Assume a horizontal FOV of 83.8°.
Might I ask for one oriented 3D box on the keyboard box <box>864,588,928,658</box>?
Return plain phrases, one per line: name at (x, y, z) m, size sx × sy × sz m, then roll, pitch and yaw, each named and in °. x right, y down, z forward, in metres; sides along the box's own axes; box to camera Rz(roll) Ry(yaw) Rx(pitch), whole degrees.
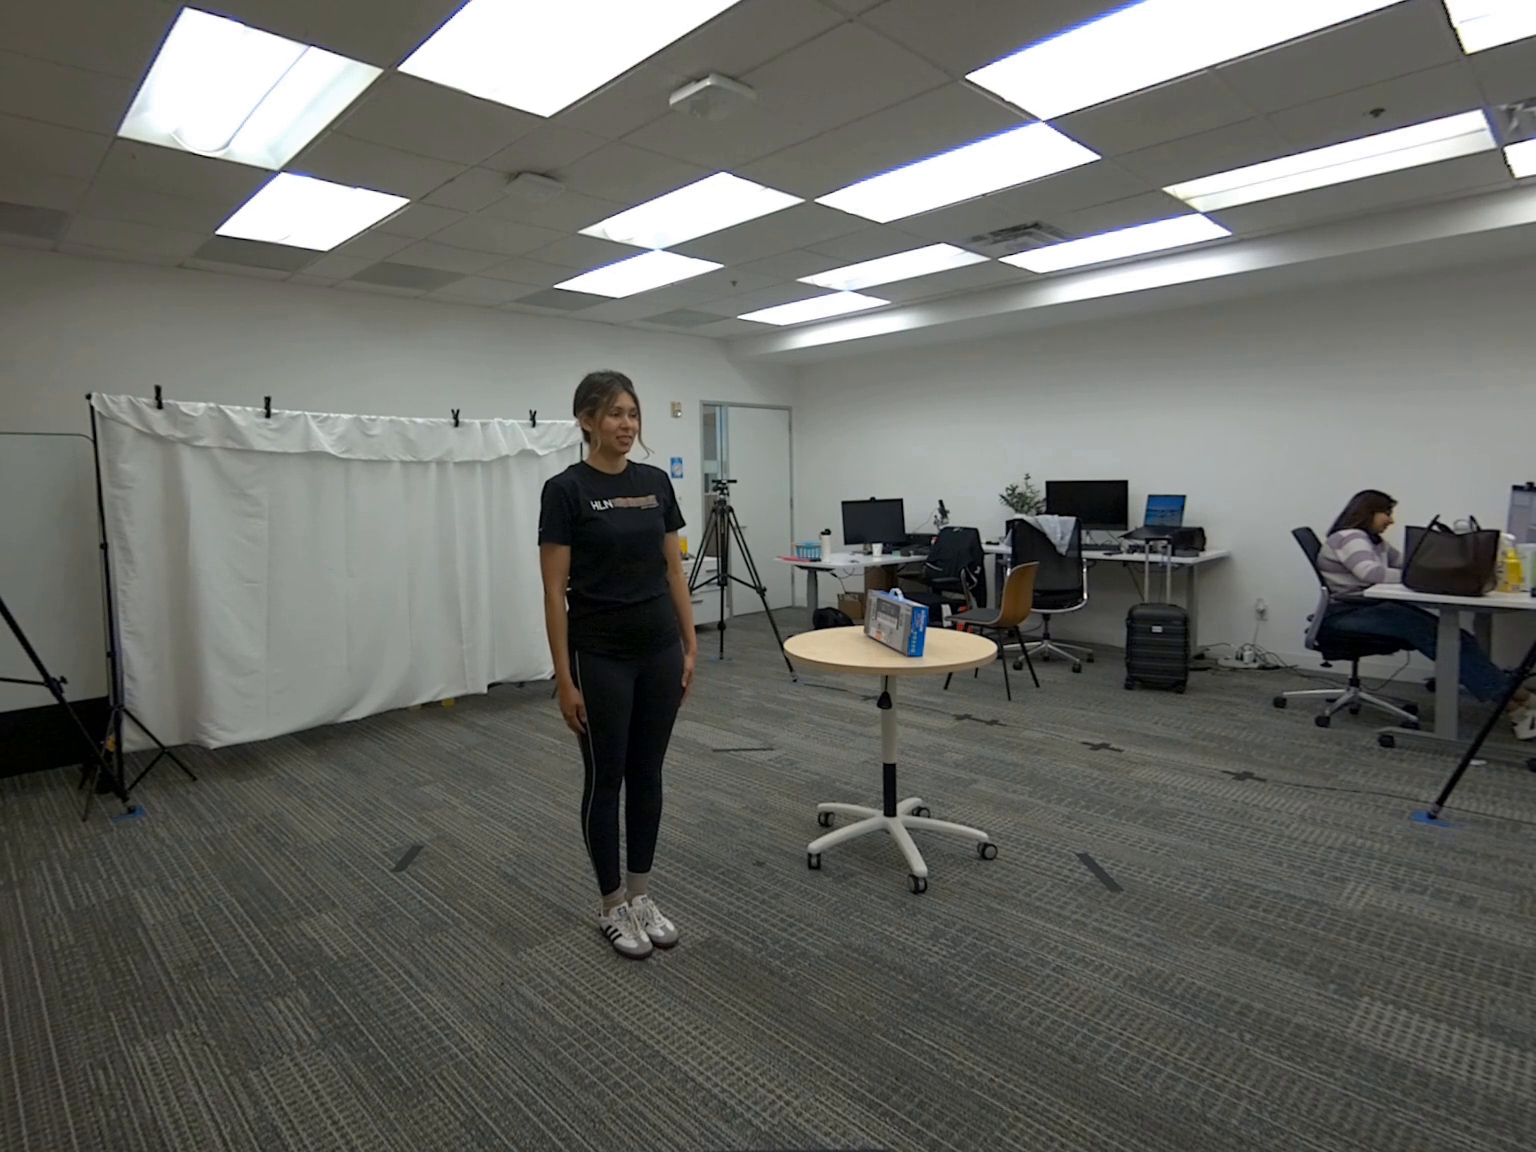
keyboard box at (0.462, 0.163, 3.117) m, size 0.058 × 0.175 × 0.443 m, roll 3°, pitch 5°, yaw -14°
